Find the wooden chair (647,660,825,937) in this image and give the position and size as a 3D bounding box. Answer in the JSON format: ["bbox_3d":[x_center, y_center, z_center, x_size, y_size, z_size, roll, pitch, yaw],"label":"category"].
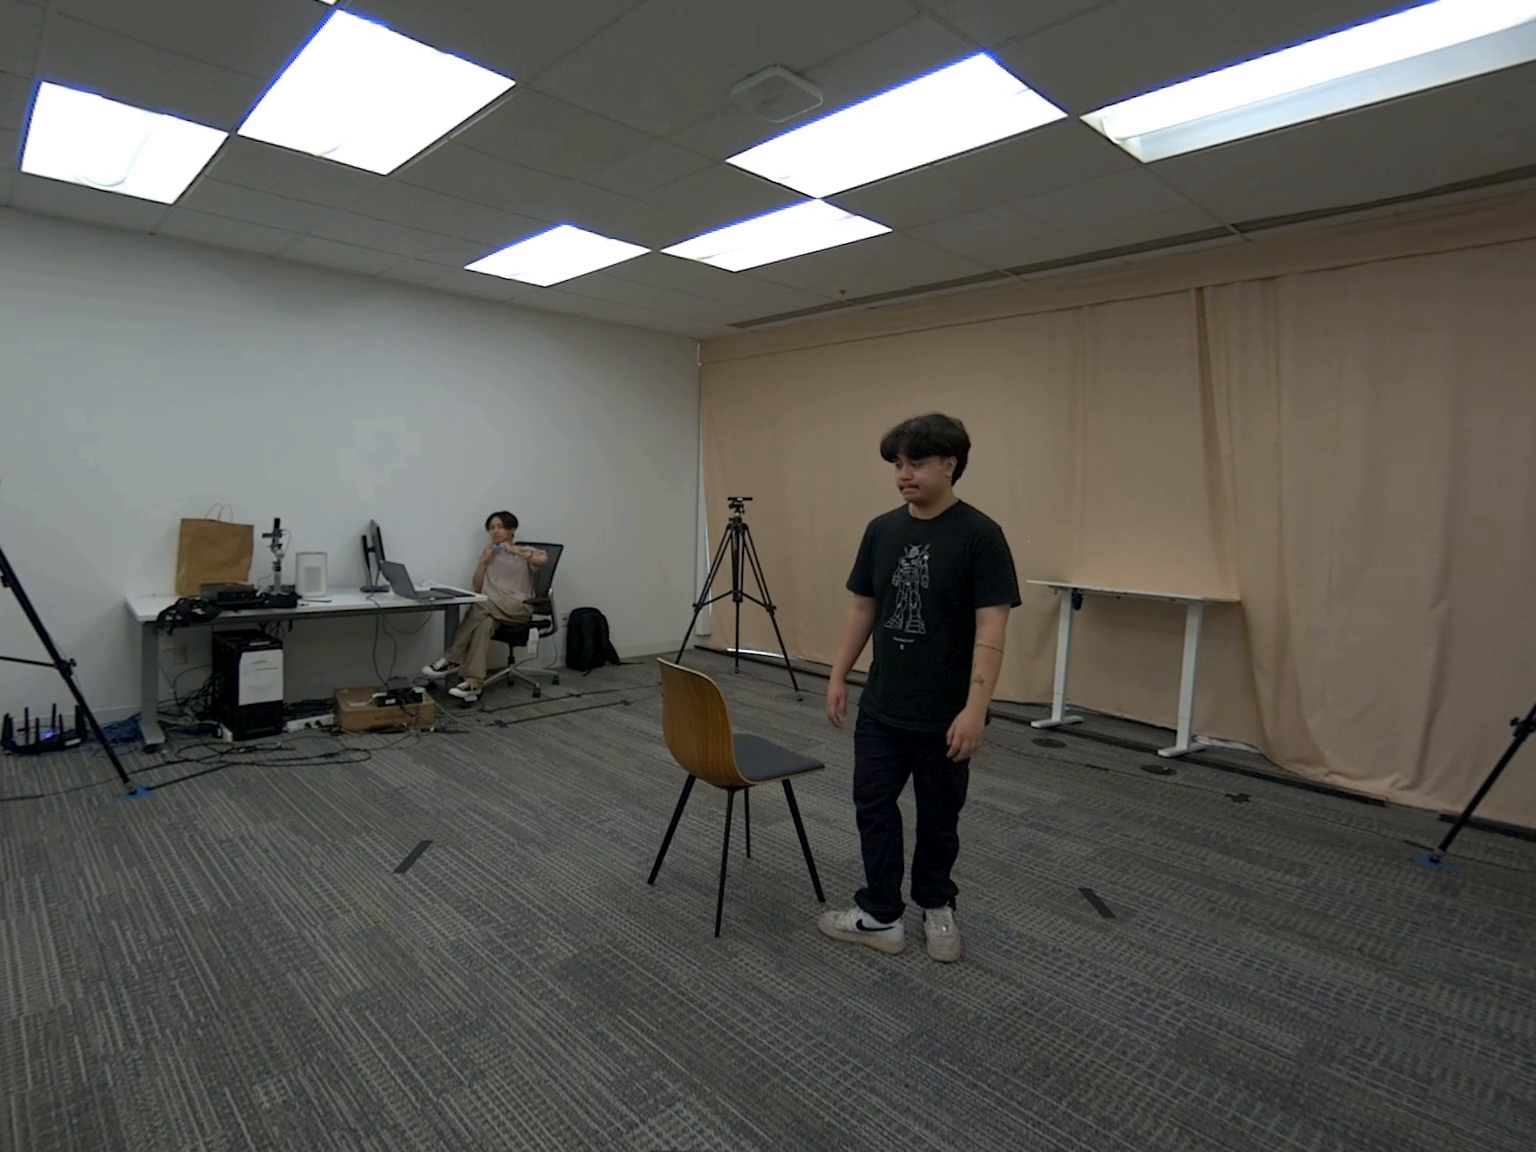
[{"bbox_3d":[-0.108,0.695,2.952,0.513,0.873,0.490,-7,7,-36],"label":"wooden chair"}]
